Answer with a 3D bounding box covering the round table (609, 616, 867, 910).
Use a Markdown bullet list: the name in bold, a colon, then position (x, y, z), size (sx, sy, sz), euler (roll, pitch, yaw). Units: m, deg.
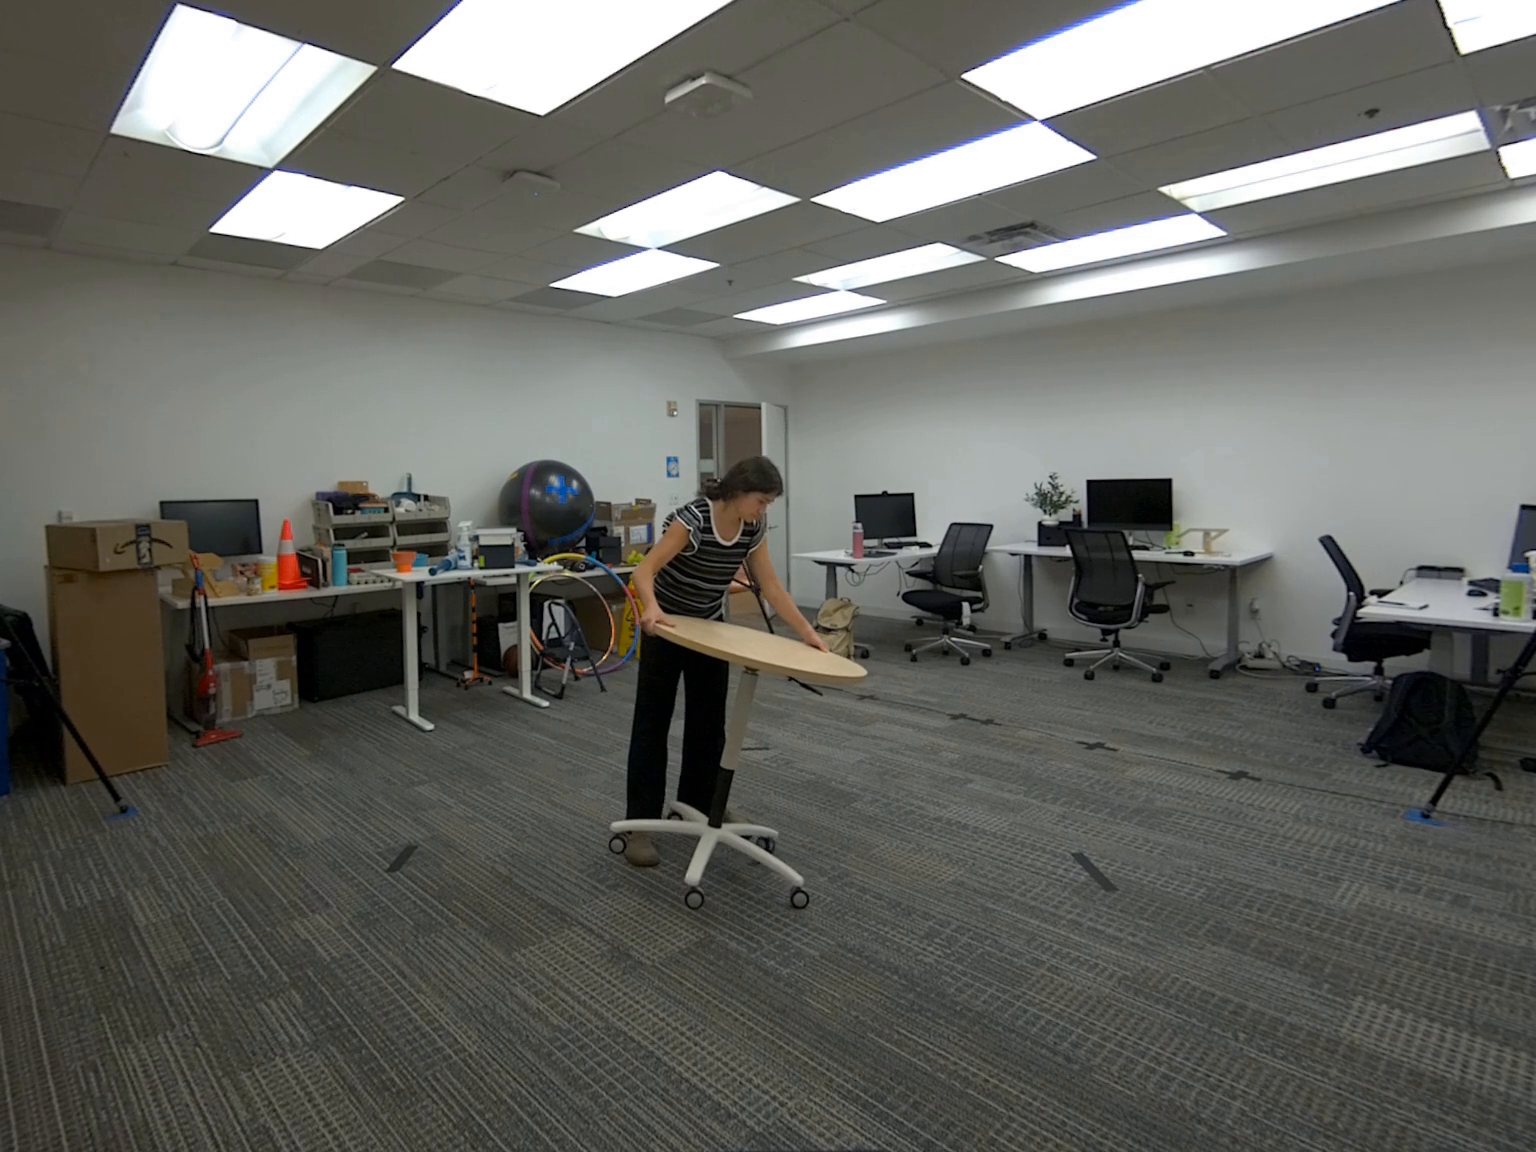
- **round table**: position (-0.123, 0.620, 2.929), size (0.763, 0.793, 0.766), euler (13, 2, -2)
